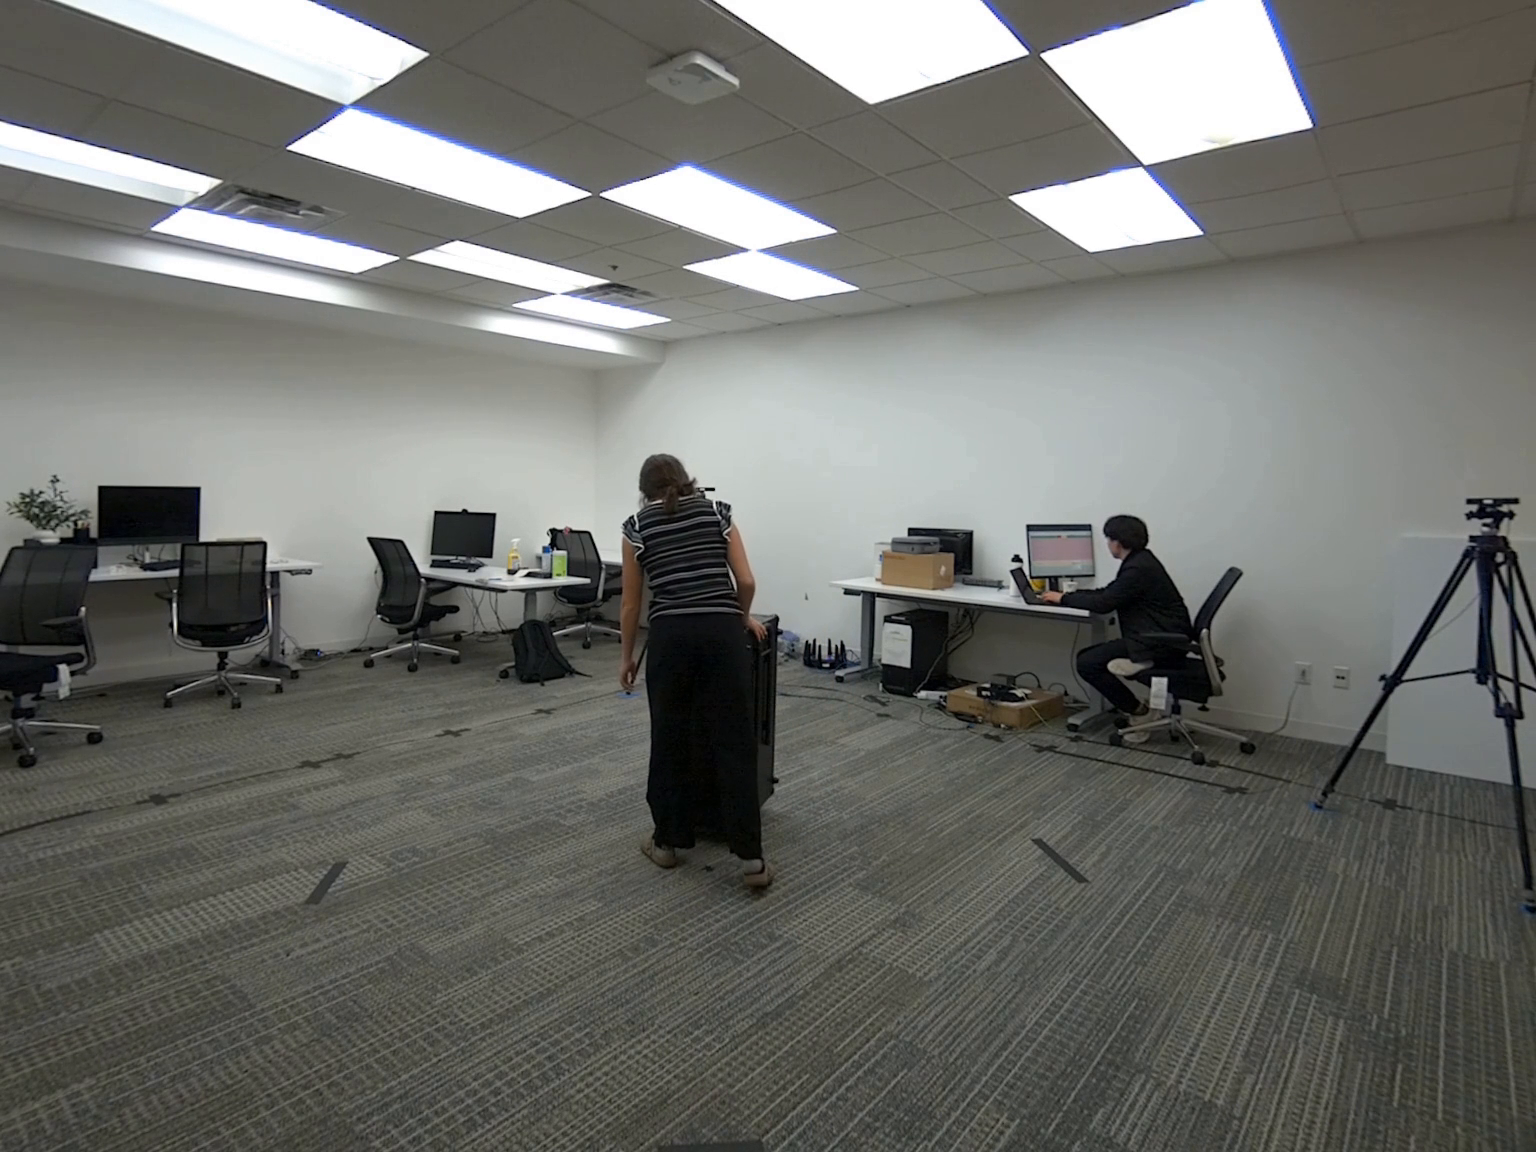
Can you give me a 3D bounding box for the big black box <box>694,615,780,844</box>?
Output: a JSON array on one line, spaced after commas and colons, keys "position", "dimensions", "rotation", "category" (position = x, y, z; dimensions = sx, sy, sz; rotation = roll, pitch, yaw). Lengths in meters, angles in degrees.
[{"position": [-0.202, 0.600, 3.530], "dimensions": [0.404, 0.859, 0.512], "rotation": [3, 4, 18], "category": "big black box"}]
